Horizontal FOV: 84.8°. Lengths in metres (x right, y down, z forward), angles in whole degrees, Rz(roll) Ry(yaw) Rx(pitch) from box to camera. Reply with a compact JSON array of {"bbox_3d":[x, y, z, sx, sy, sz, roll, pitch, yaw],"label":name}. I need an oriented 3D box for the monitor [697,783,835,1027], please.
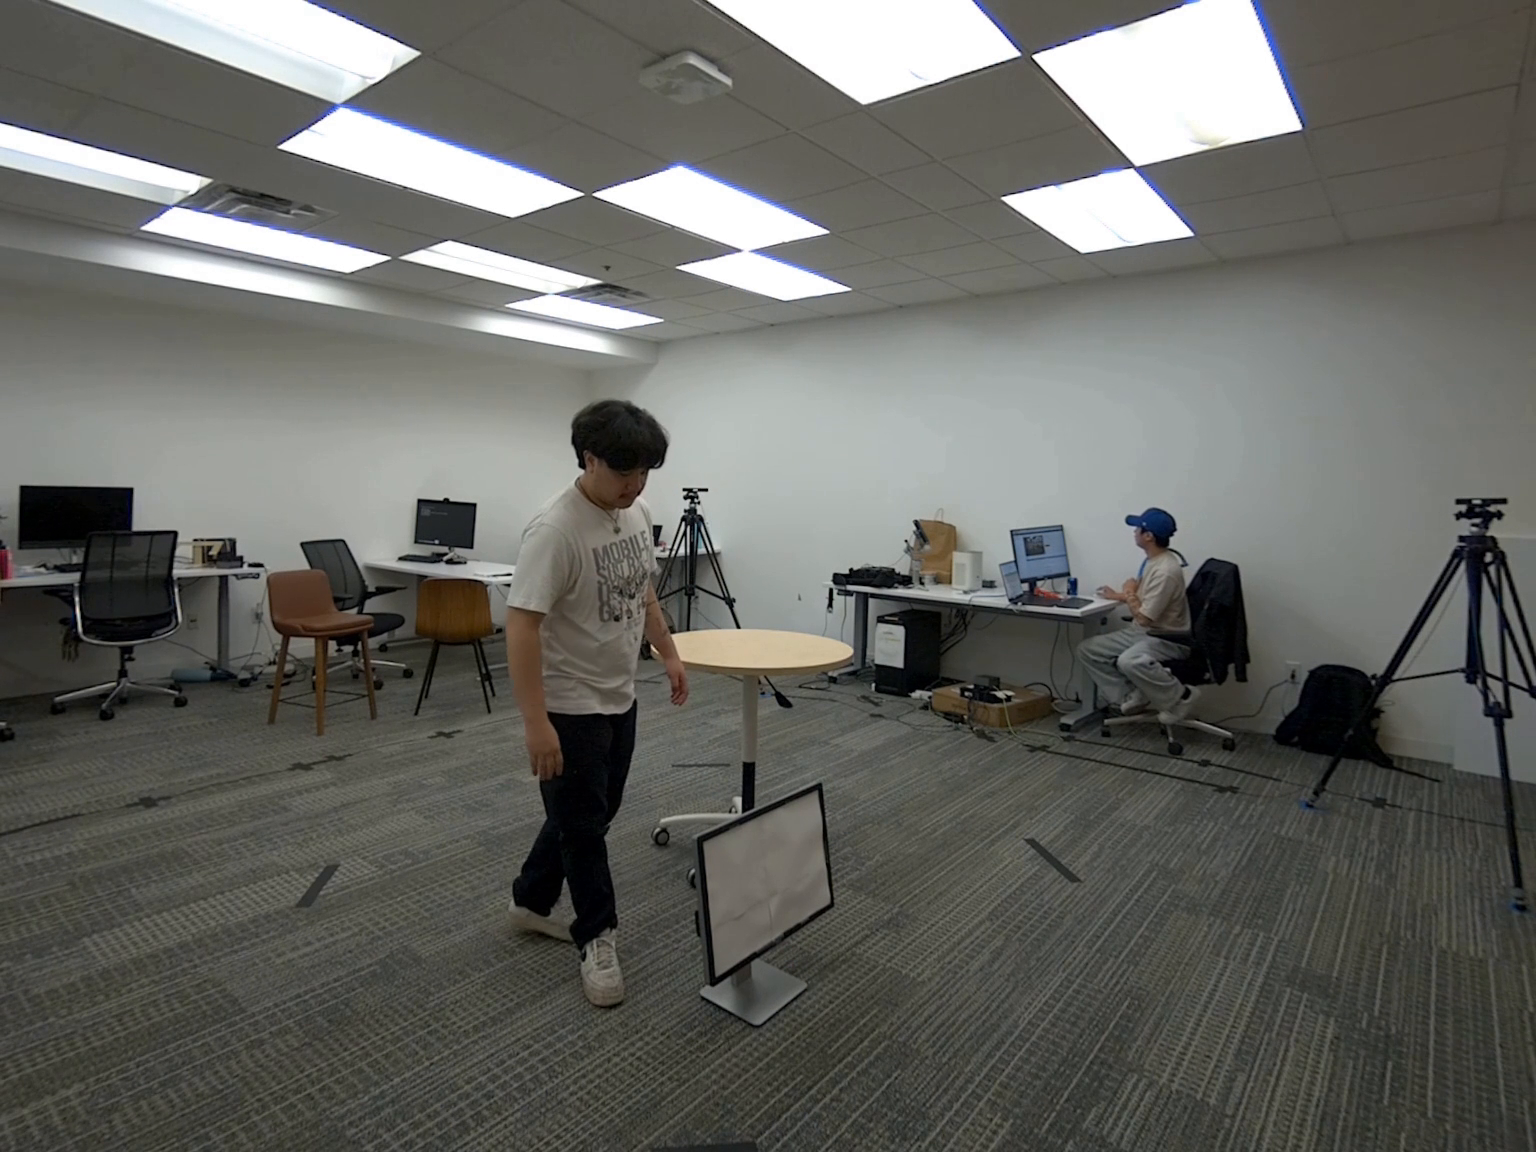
[{"bbox_3d":[-0.051,0.895,2.350,0.217,0.553,0.549,0,3,40],"label":"monitor"}]
